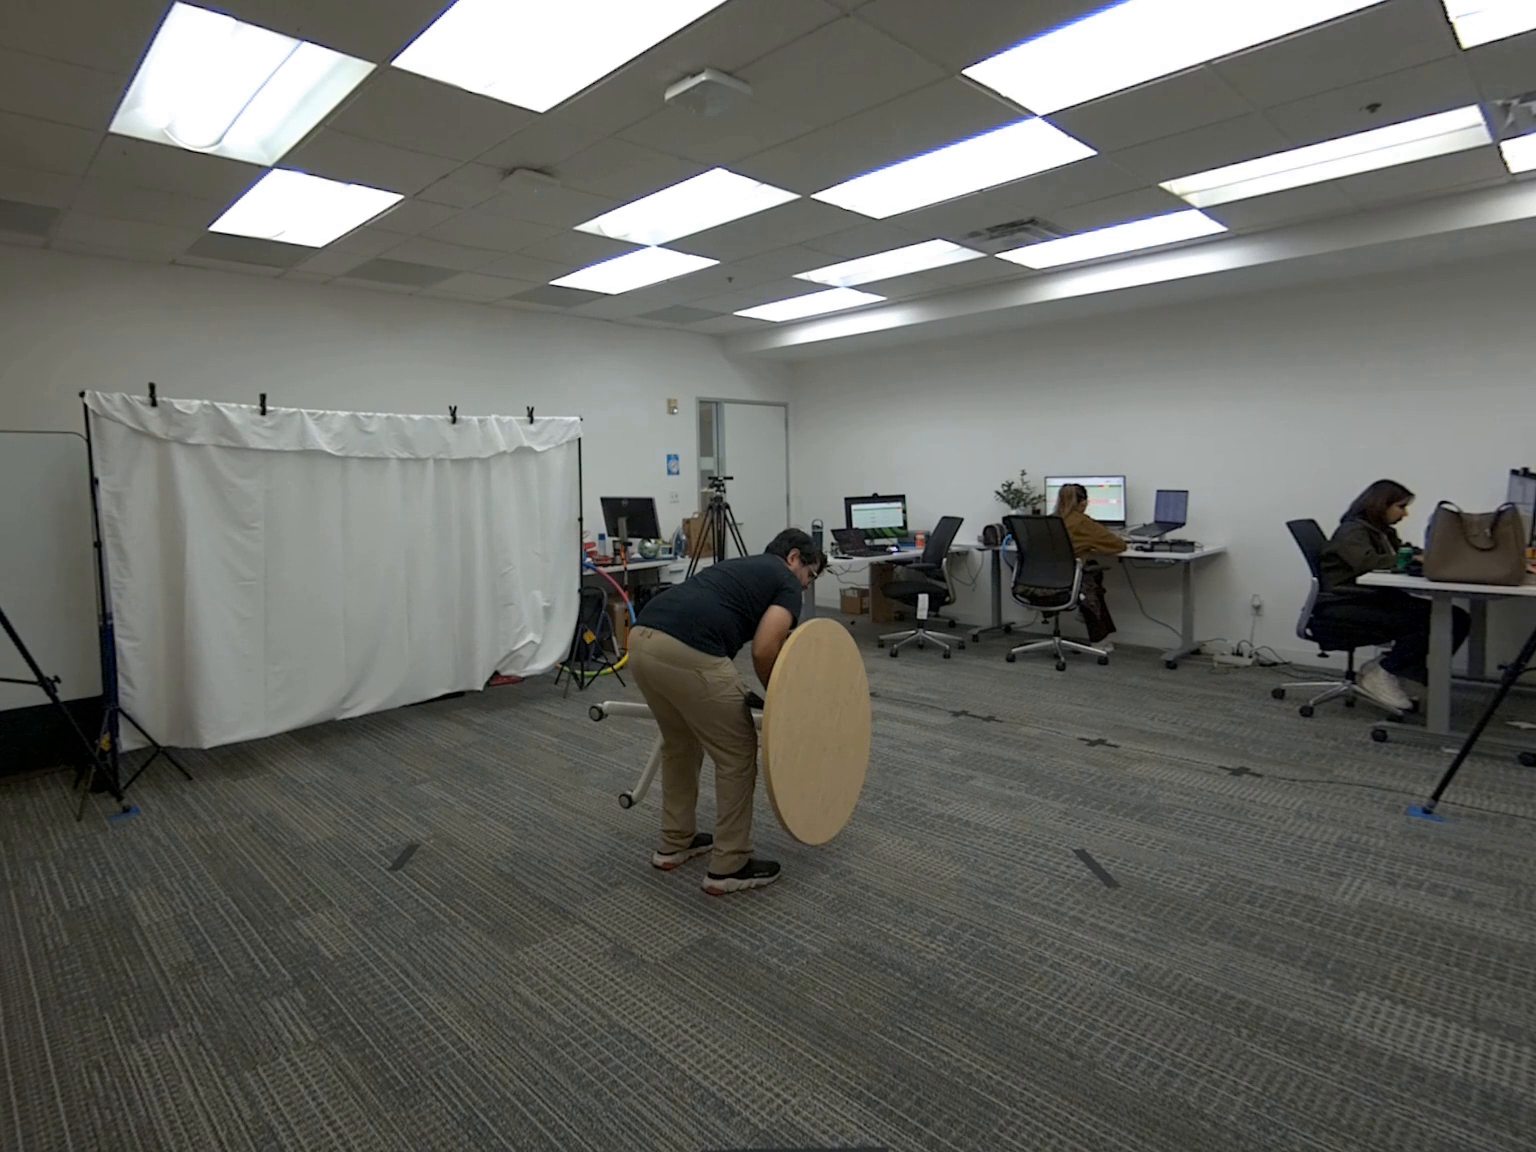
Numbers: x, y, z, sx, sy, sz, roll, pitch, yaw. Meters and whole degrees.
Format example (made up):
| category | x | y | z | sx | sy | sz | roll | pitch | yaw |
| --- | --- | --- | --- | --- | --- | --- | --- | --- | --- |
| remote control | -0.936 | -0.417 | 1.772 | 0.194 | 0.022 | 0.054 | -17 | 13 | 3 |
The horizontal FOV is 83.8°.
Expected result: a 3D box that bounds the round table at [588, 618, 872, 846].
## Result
| category | x | y | z | sx | sy | sz | roll | pitch | yaw |
| --- | --- | --- | --- | --- | --- | --- | --- | --- | --- |
| round table | -0.136 | 0.538 | 3.205 | 0.807 | 0.783 | 0.767 | -1 | 4 | 33 |
